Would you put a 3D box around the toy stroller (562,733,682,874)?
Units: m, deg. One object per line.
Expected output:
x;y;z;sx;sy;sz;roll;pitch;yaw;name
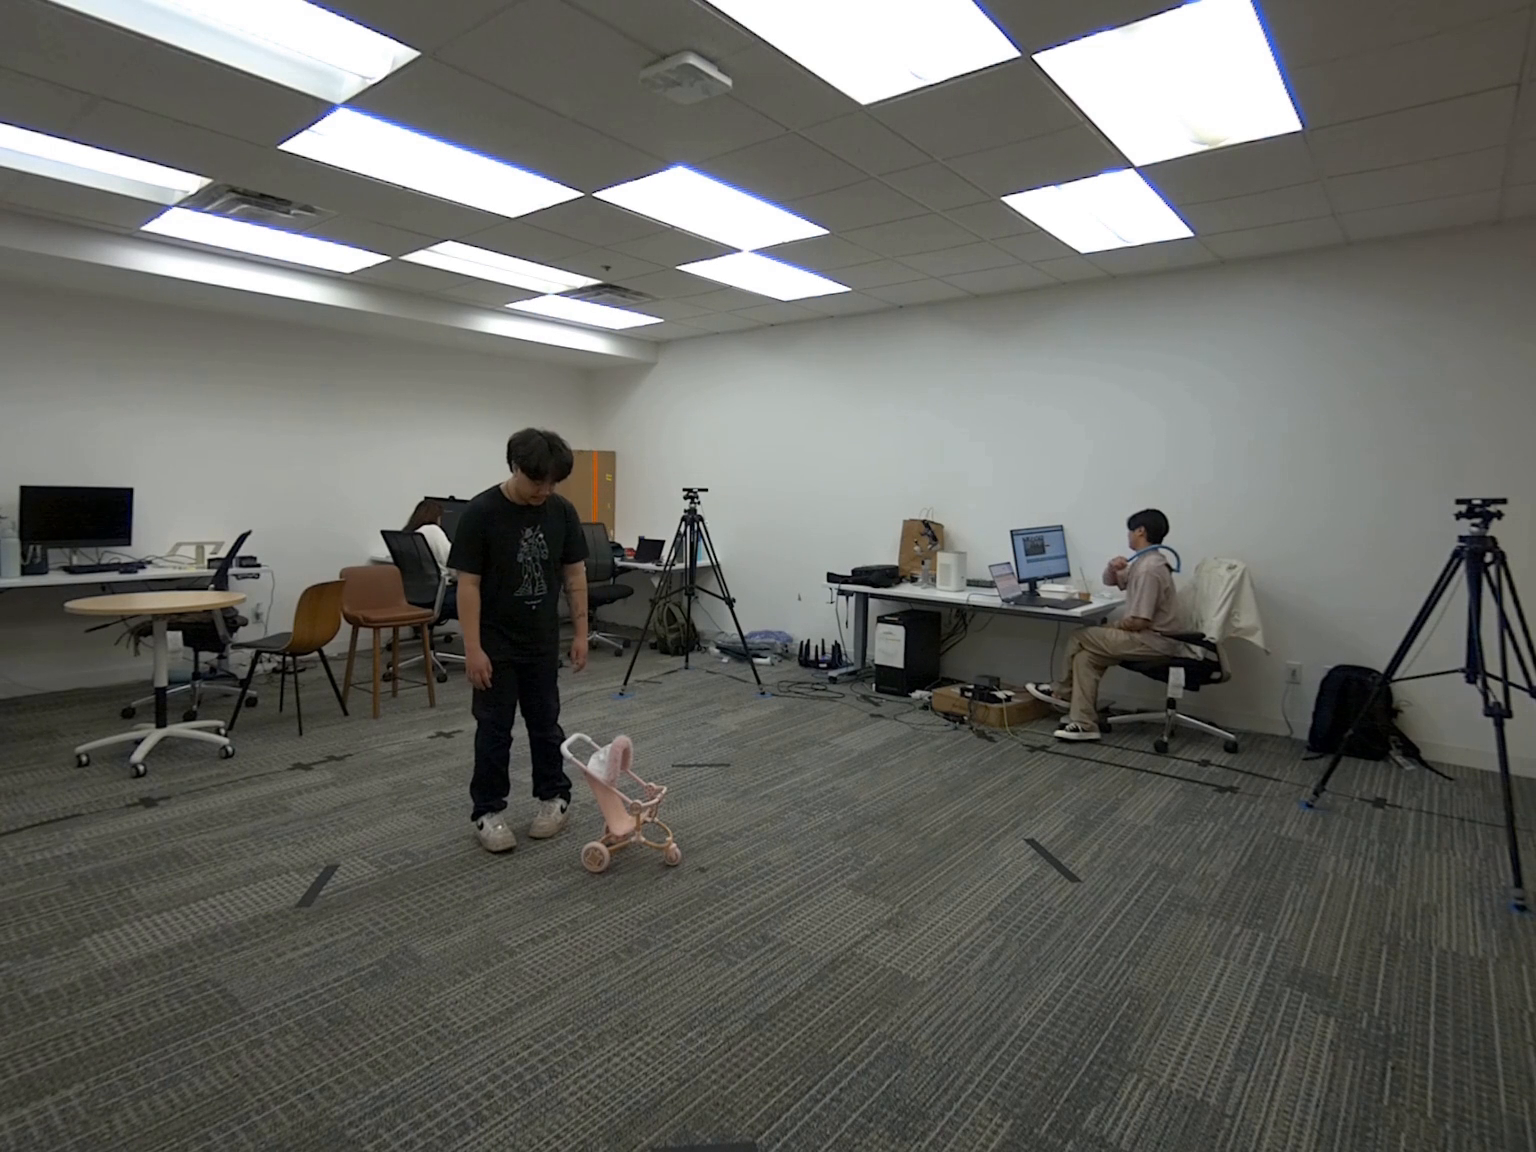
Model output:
-0.548;0.834;3.163;0.346;0.535;0.277;-14;0;16;toy stroller
